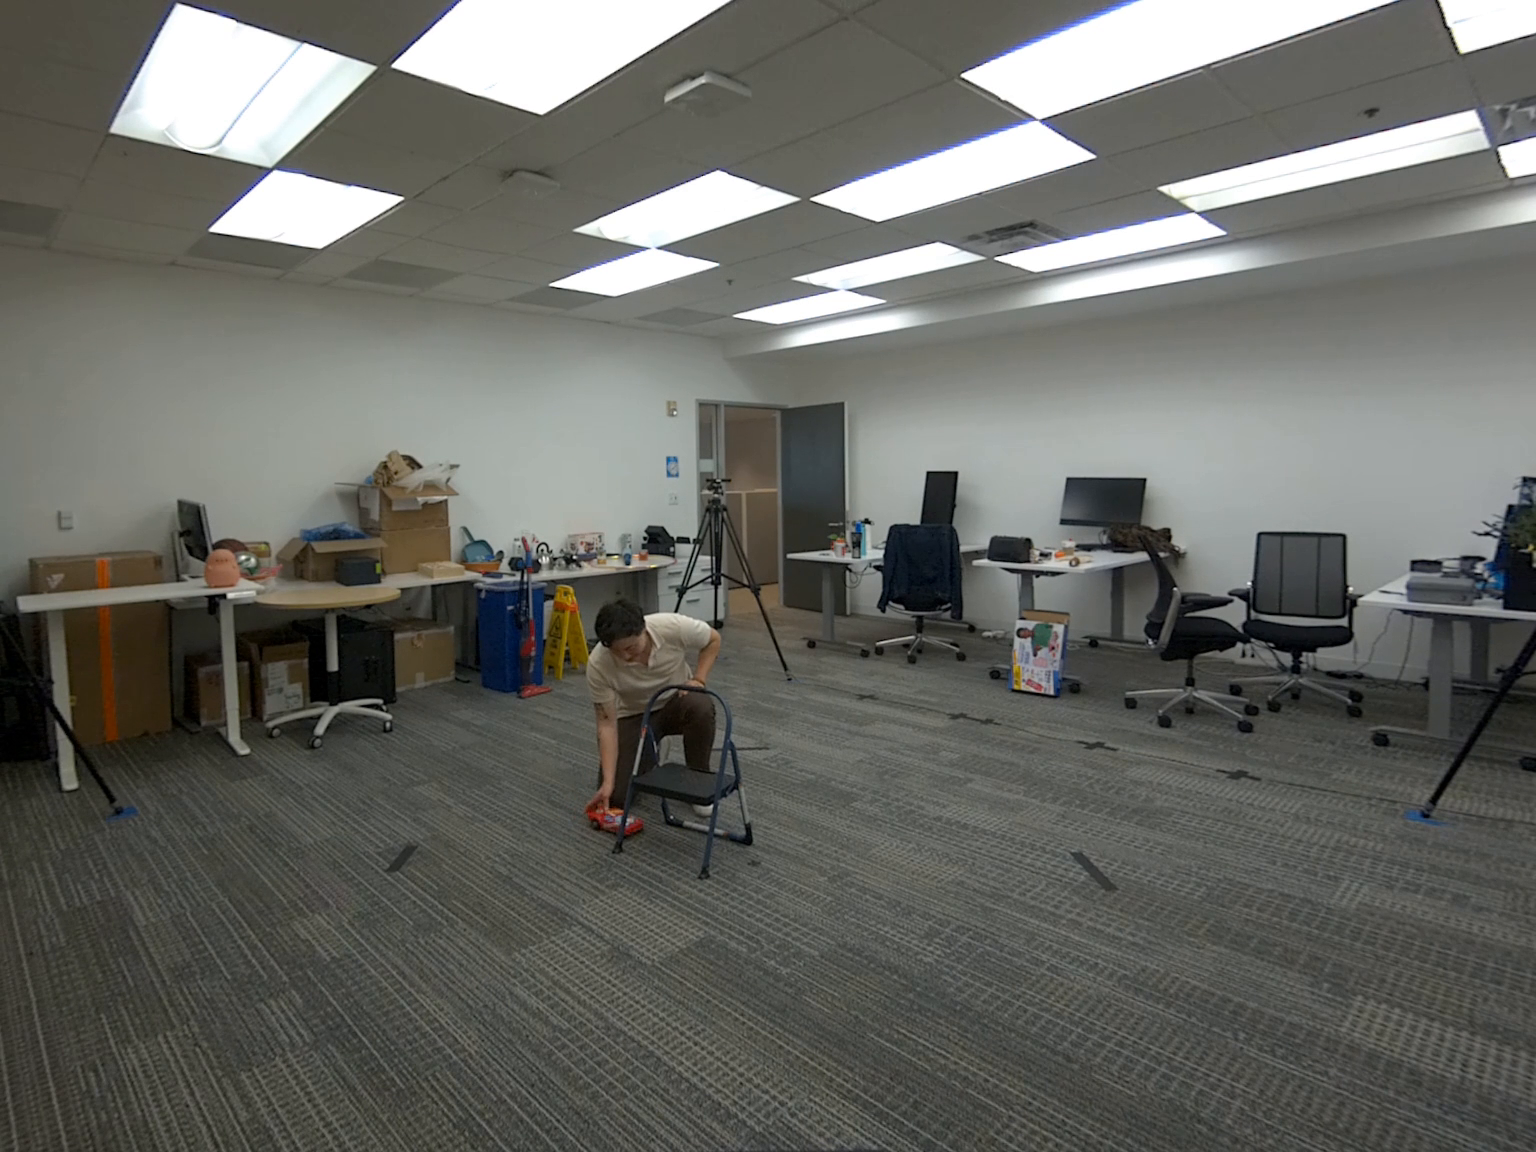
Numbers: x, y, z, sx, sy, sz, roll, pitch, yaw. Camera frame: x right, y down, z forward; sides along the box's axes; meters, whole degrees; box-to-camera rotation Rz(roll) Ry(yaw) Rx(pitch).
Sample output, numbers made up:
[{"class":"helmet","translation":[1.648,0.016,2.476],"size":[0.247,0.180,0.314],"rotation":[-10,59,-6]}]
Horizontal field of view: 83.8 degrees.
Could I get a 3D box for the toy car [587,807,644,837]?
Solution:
[{"class":"toy car","translation":[-0.611,0.992,3.427],"size":[0.263,0.082,0.127],"rotation":[17,17,37]}]
